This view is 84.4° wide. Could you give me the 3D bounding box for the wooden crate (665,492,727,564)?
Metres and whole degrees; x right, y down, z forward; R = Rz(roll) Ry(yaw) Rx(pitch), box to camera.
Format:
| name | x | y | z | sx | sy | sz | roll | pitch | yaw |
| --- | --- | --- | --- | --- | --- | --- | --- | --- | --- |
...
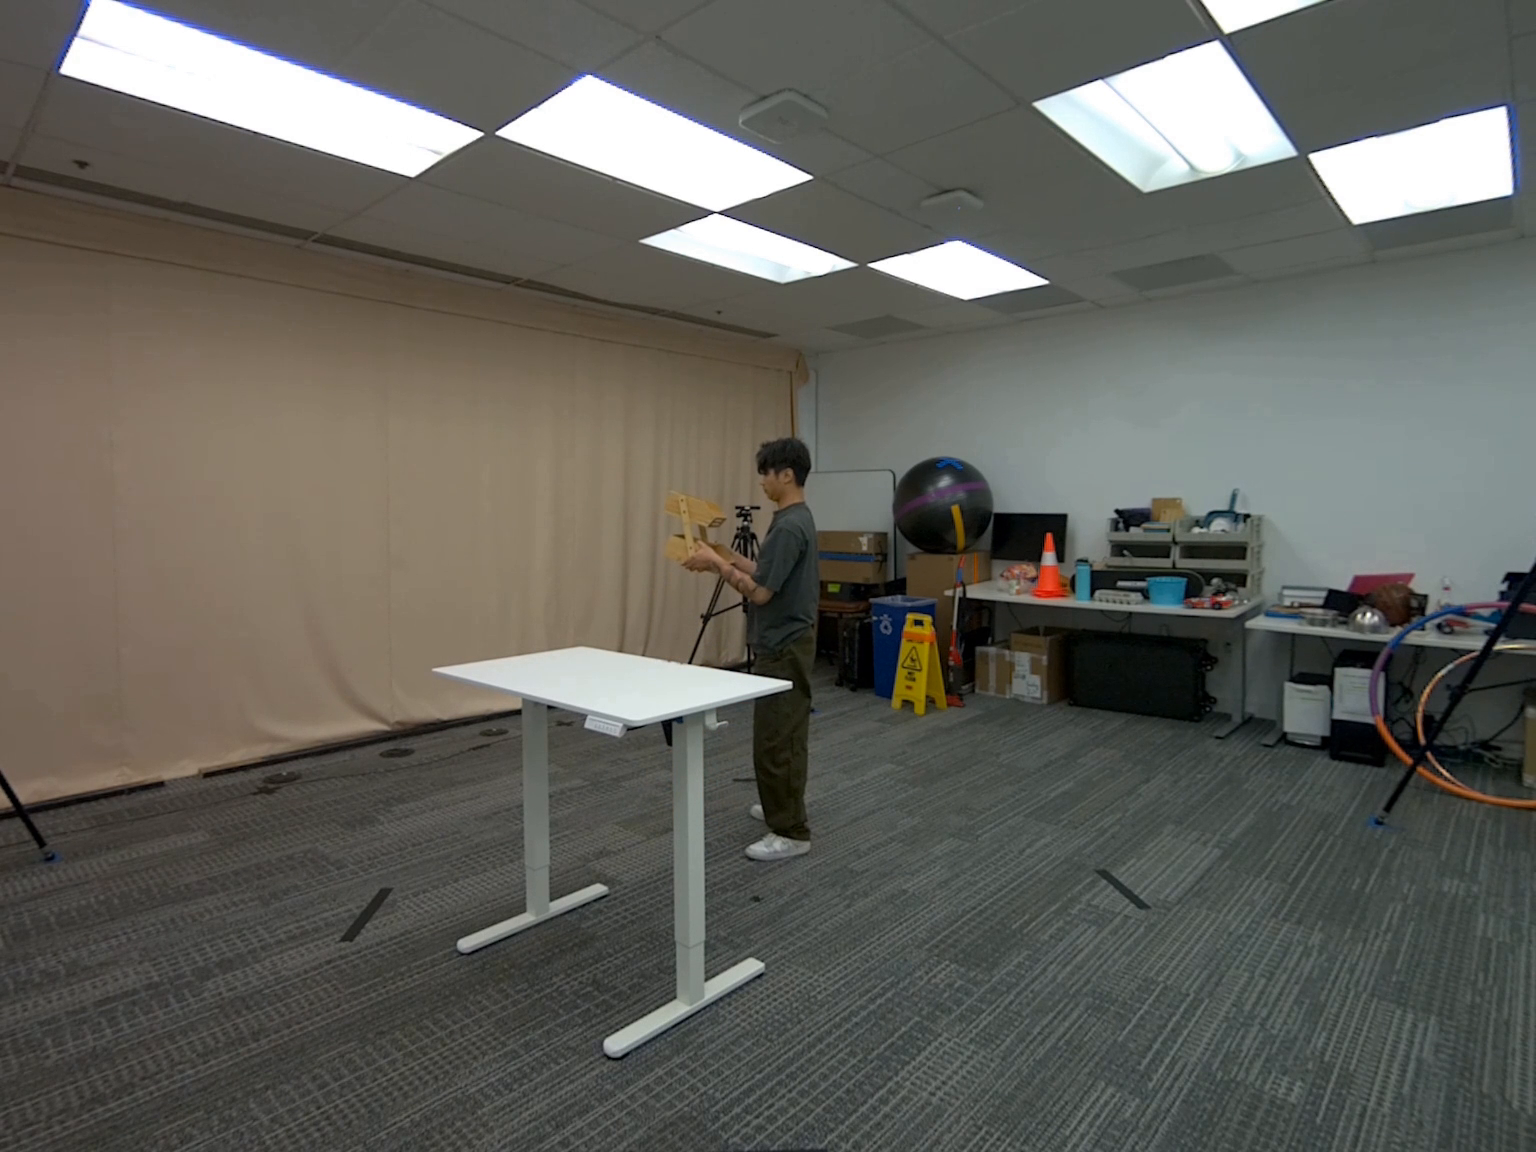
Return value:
| name | x | y | z | sx | sy | sz | roll | pitch | yaw |
| --- | --- | --- | --- | --- | --- | --- | --- | --- | --- |
| wooden crate | -0.269 | -0.182 | 3.535 | 0.305 | 0.273 | 0.322 | 18 | 5 | 7 |
